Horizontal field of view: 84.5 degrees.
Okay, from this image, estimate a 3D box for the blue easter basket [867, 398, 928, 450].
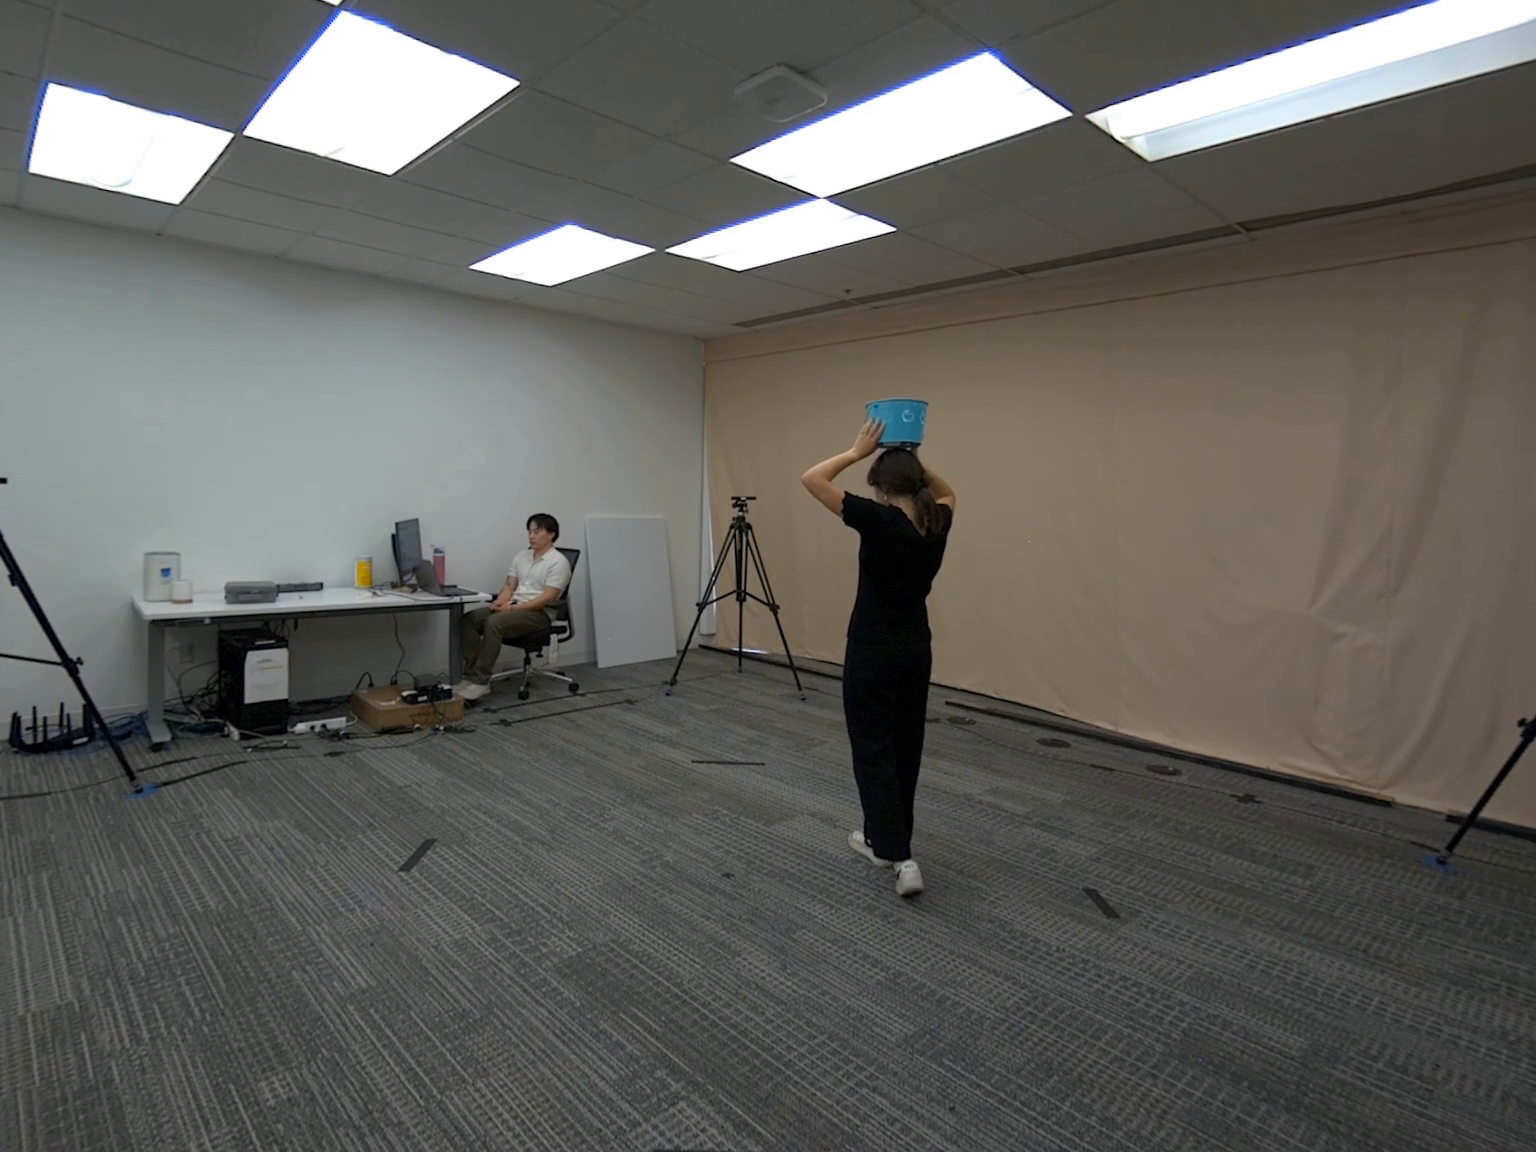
[{"bbox_3d":[0.489,-0.565,3.172,0.243,0.156,0.244,3,1,-1],"label":"blue easter basket"}]
